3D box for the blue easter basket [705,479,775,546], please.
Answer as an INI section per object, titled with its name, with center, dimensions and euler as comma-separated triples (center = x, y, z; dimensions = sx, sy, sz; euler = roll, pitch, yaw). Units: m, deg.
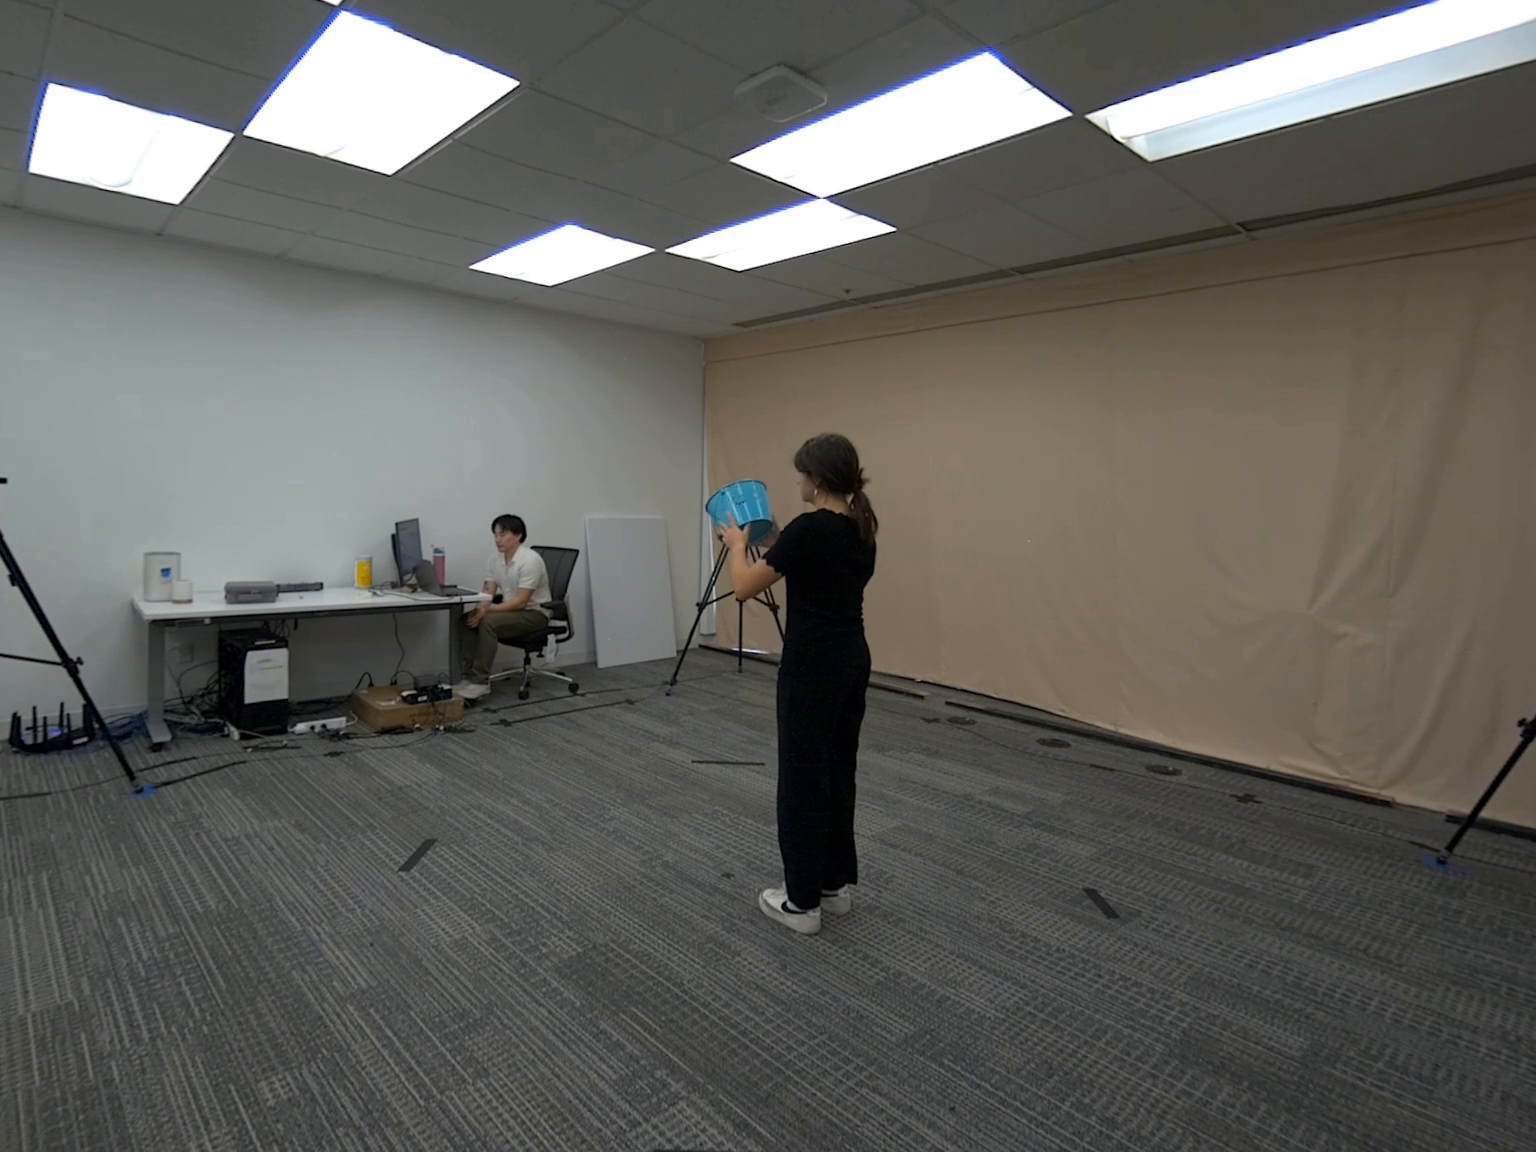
[blue easter basket]
center = -0.097, -0.208, 3.020
dimensions = 0.242, 0.159, 0.239
euler = -17, -25, -10
